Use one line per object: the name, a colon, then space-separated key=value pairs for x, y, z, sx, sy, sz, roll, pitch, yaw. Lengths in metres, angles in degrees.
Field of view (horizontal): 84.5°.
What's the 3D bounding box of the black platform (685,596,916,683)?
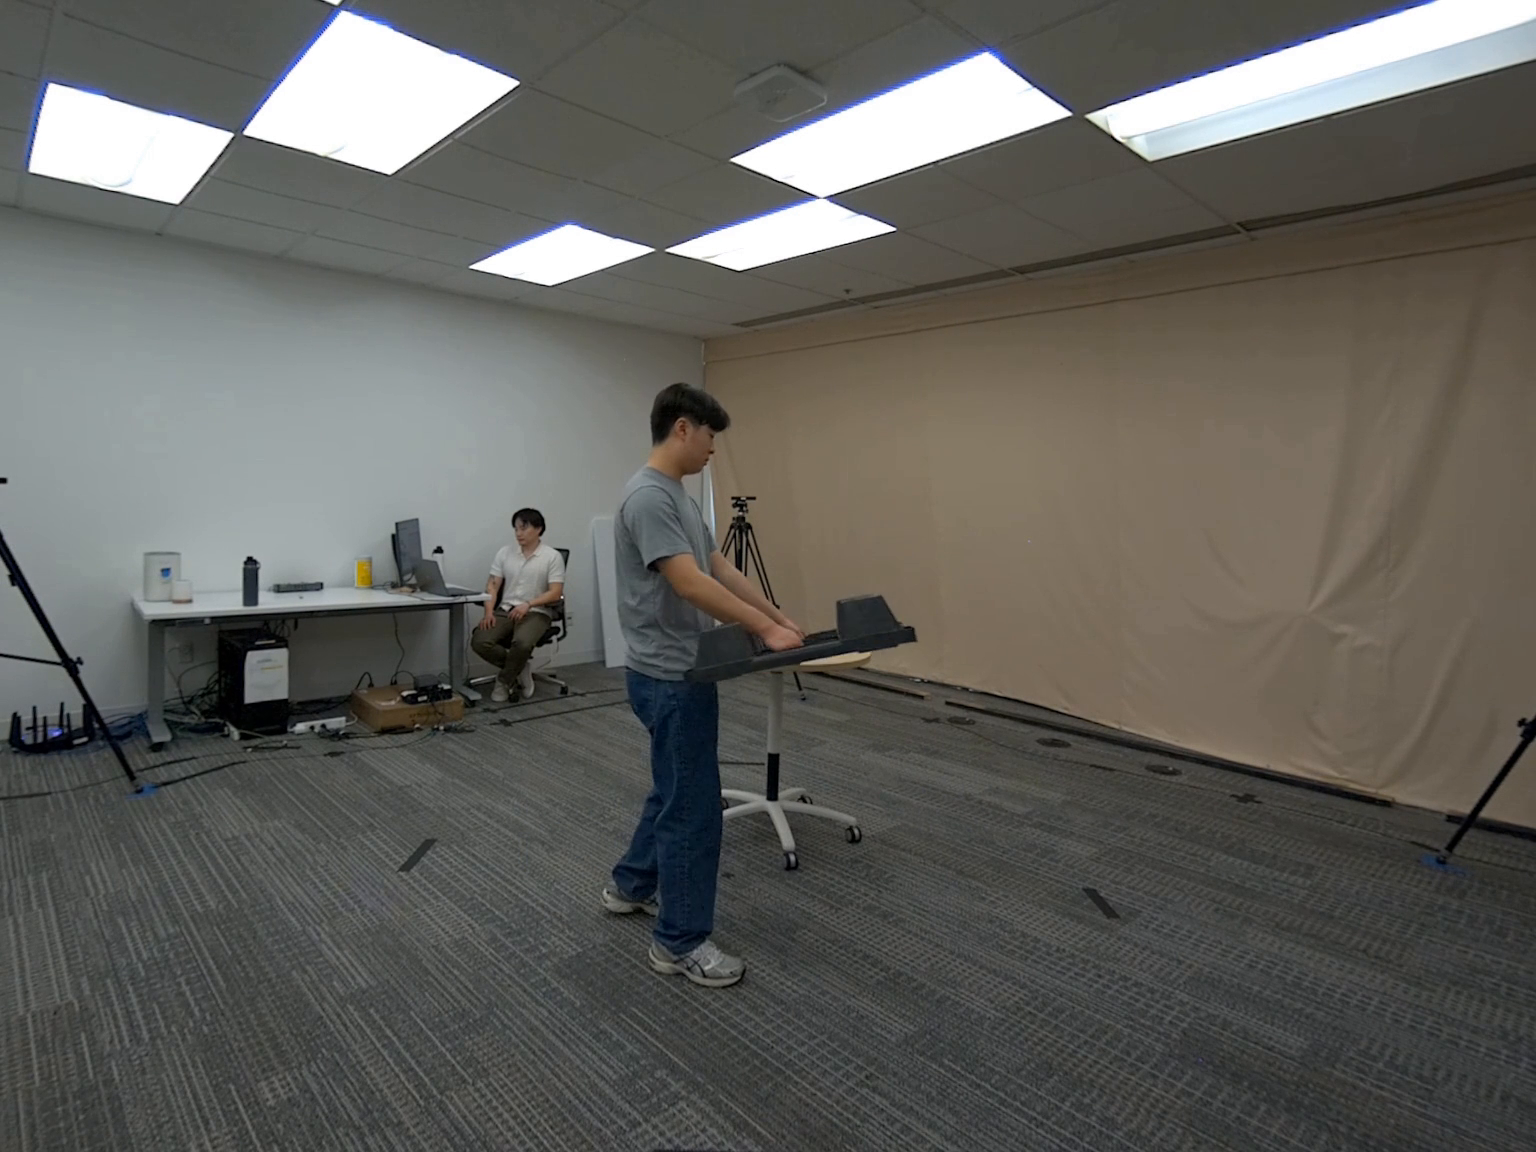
black platform: x=0.080 y=0.180 z=2.499 sx=0.607 sy=0.144 sz=0.799 roll=-10 pitch=-3 yaw=4
